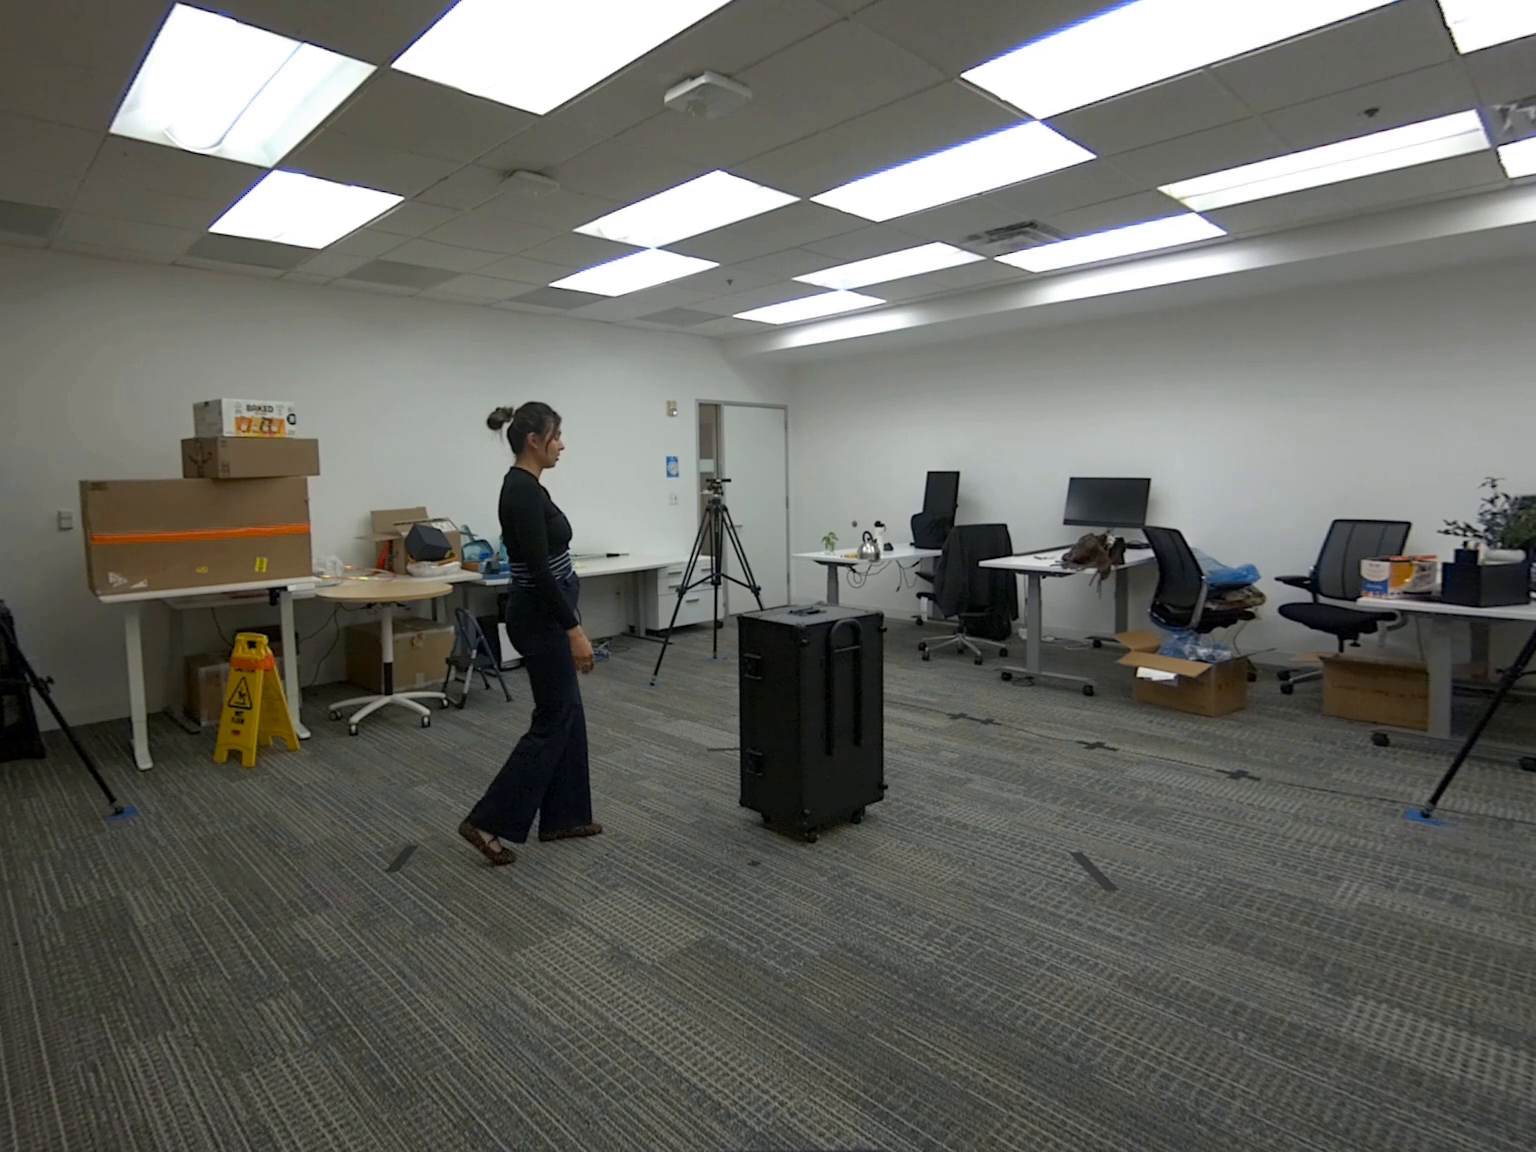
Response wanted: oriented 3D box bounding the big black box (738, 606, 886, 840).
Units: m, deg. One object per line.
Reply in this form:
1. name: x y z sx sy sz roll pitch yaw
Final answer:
1. big black box: 0.189 0.576 3.464 0.507 0.858 0.409 -4 6 -42
